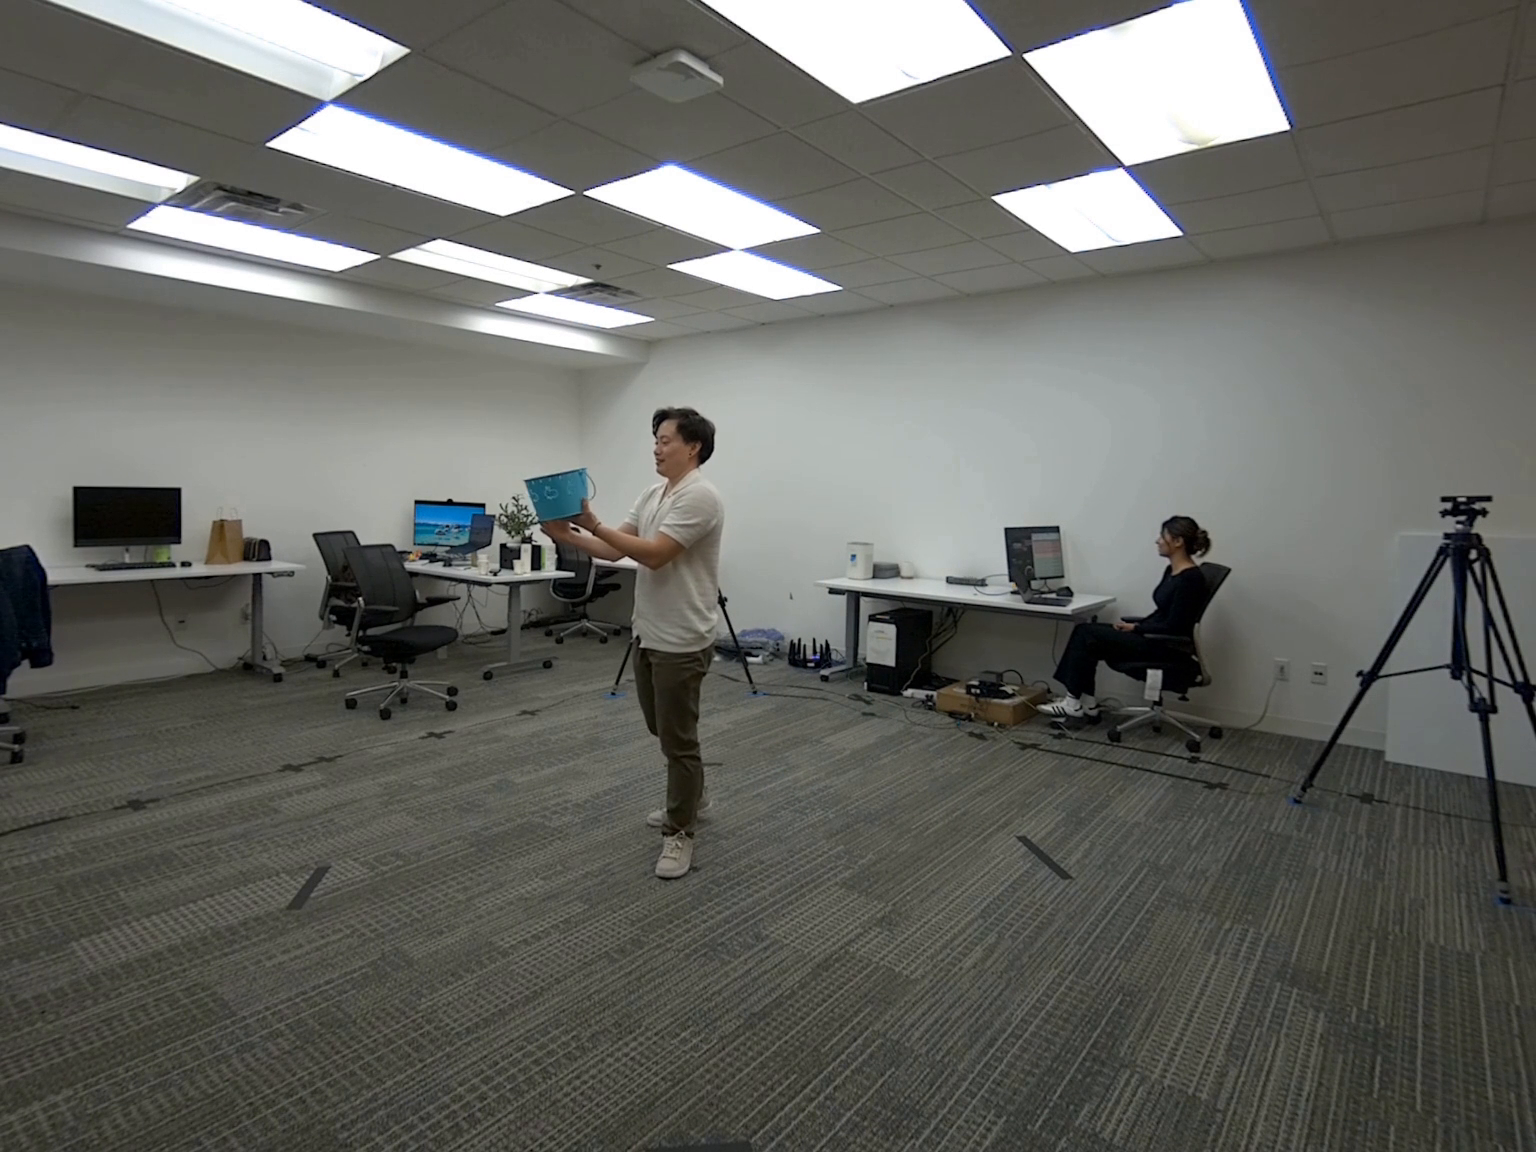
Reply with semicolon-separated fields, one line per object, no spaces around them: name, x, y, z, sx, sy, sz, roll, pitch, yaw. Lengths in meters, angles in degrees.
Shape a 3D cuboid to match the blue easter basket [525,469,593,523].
blue easter basket;-0.746;-0.291;3.003;0.244;0.154;0.246;-13;8;0
